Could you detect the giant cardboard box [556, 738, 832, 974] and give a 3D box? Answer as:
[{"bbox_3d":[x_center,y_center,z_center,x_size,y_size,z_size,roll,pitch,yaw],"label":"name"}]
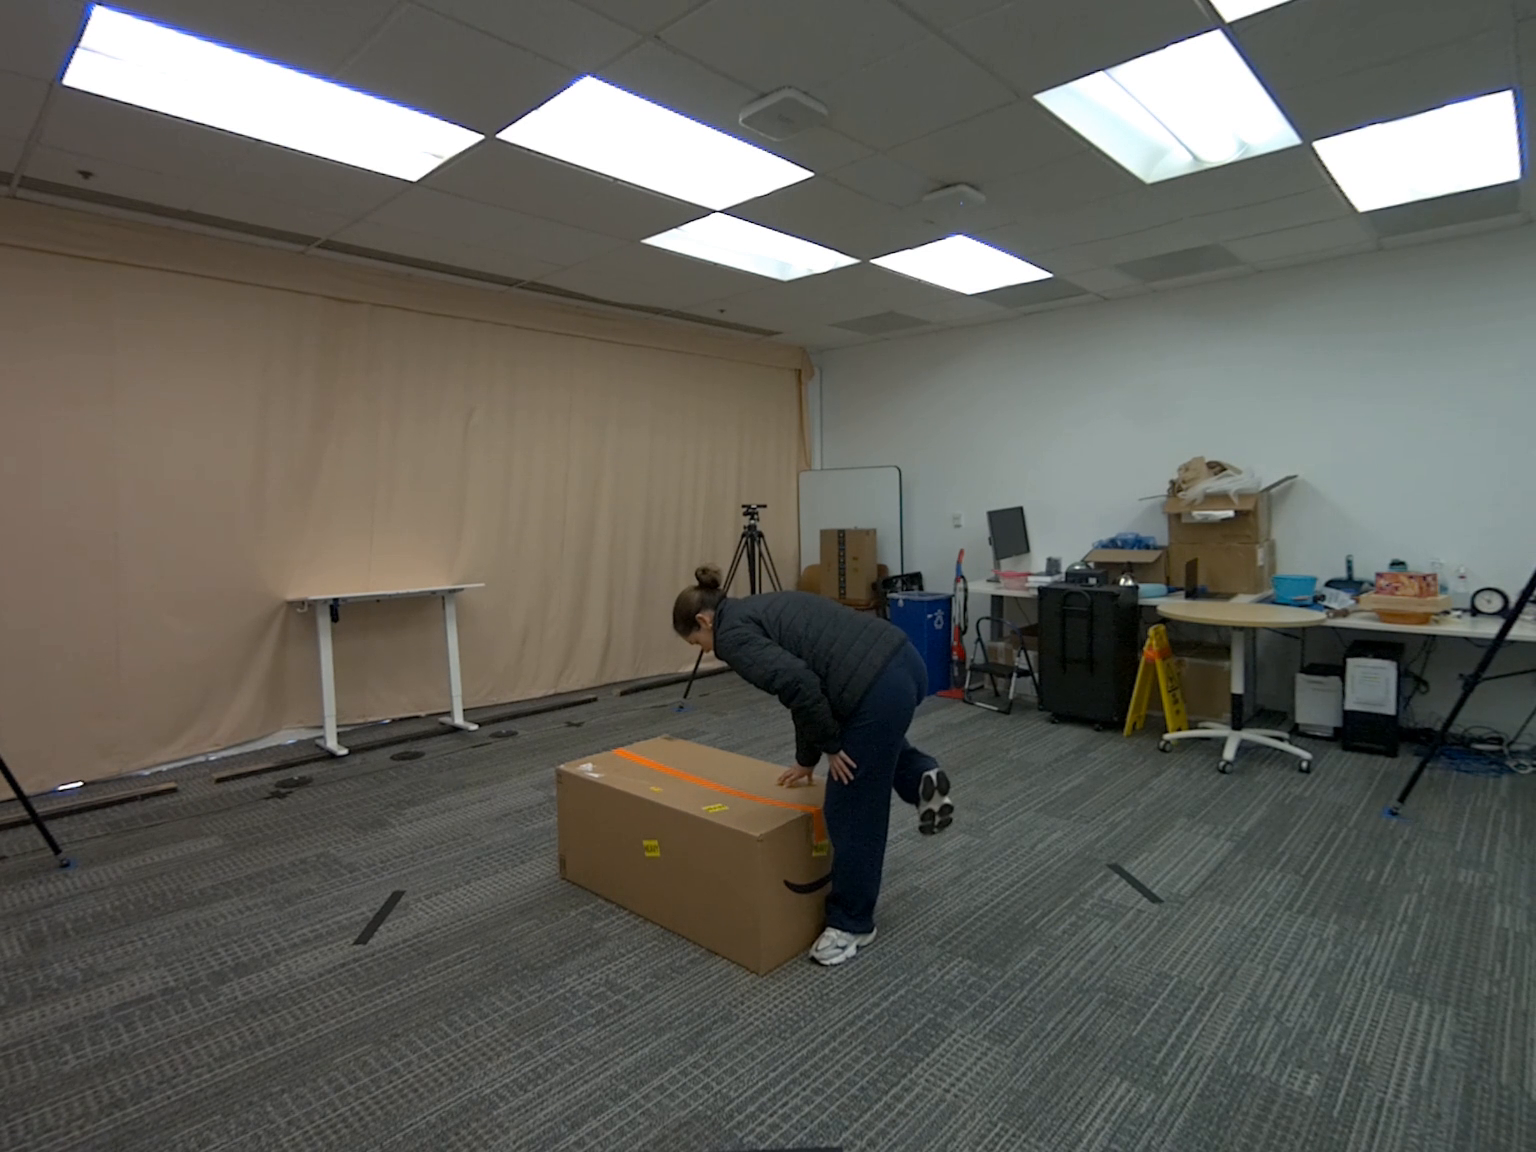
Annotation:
[{"bbox_3d":[-0.212,0.934,3.031,1.061,0.446,0.566,2,4,42],"label":"giant cardboard box"}]
